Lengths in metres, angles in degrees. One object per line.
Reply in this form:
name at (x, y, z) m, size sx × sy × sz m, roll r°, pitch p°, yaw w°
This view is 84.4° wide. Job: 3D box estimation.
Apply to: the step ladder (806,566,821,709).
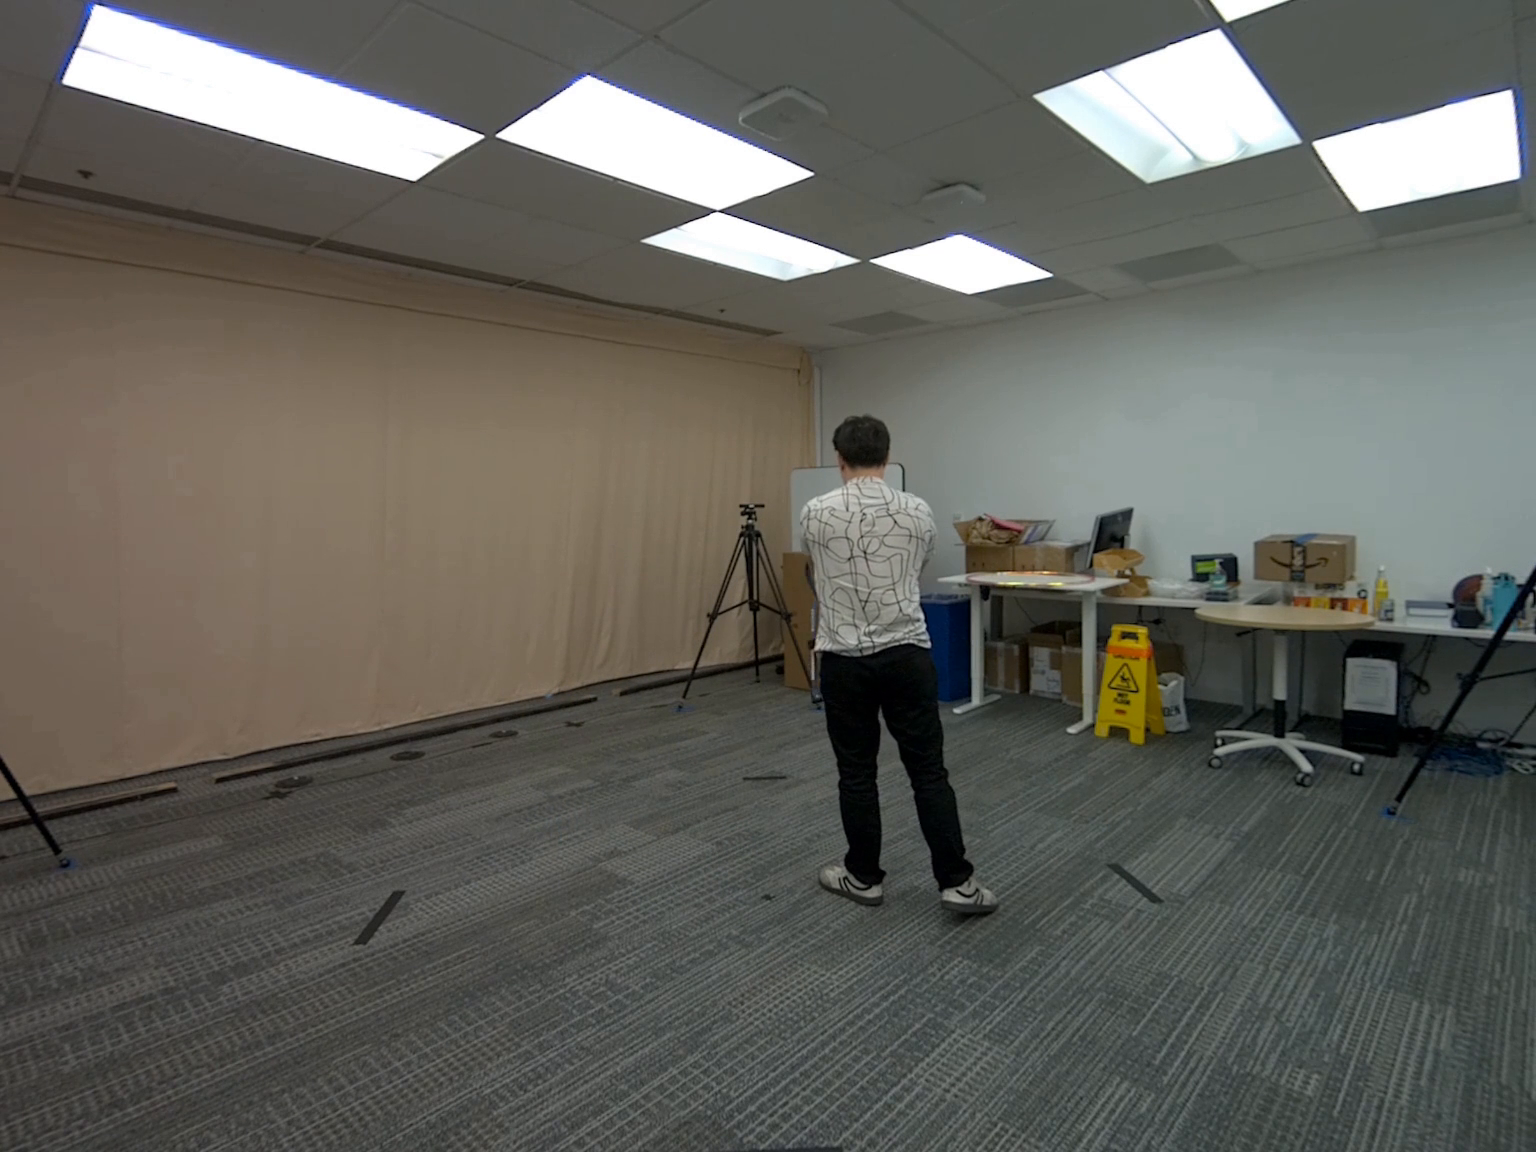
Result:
step ladder at (0.358, 0.174, 3.495) m, size 0.341 × 0.612 × 0.436 m, roll -7°, pitch -13°, yaw -25°
